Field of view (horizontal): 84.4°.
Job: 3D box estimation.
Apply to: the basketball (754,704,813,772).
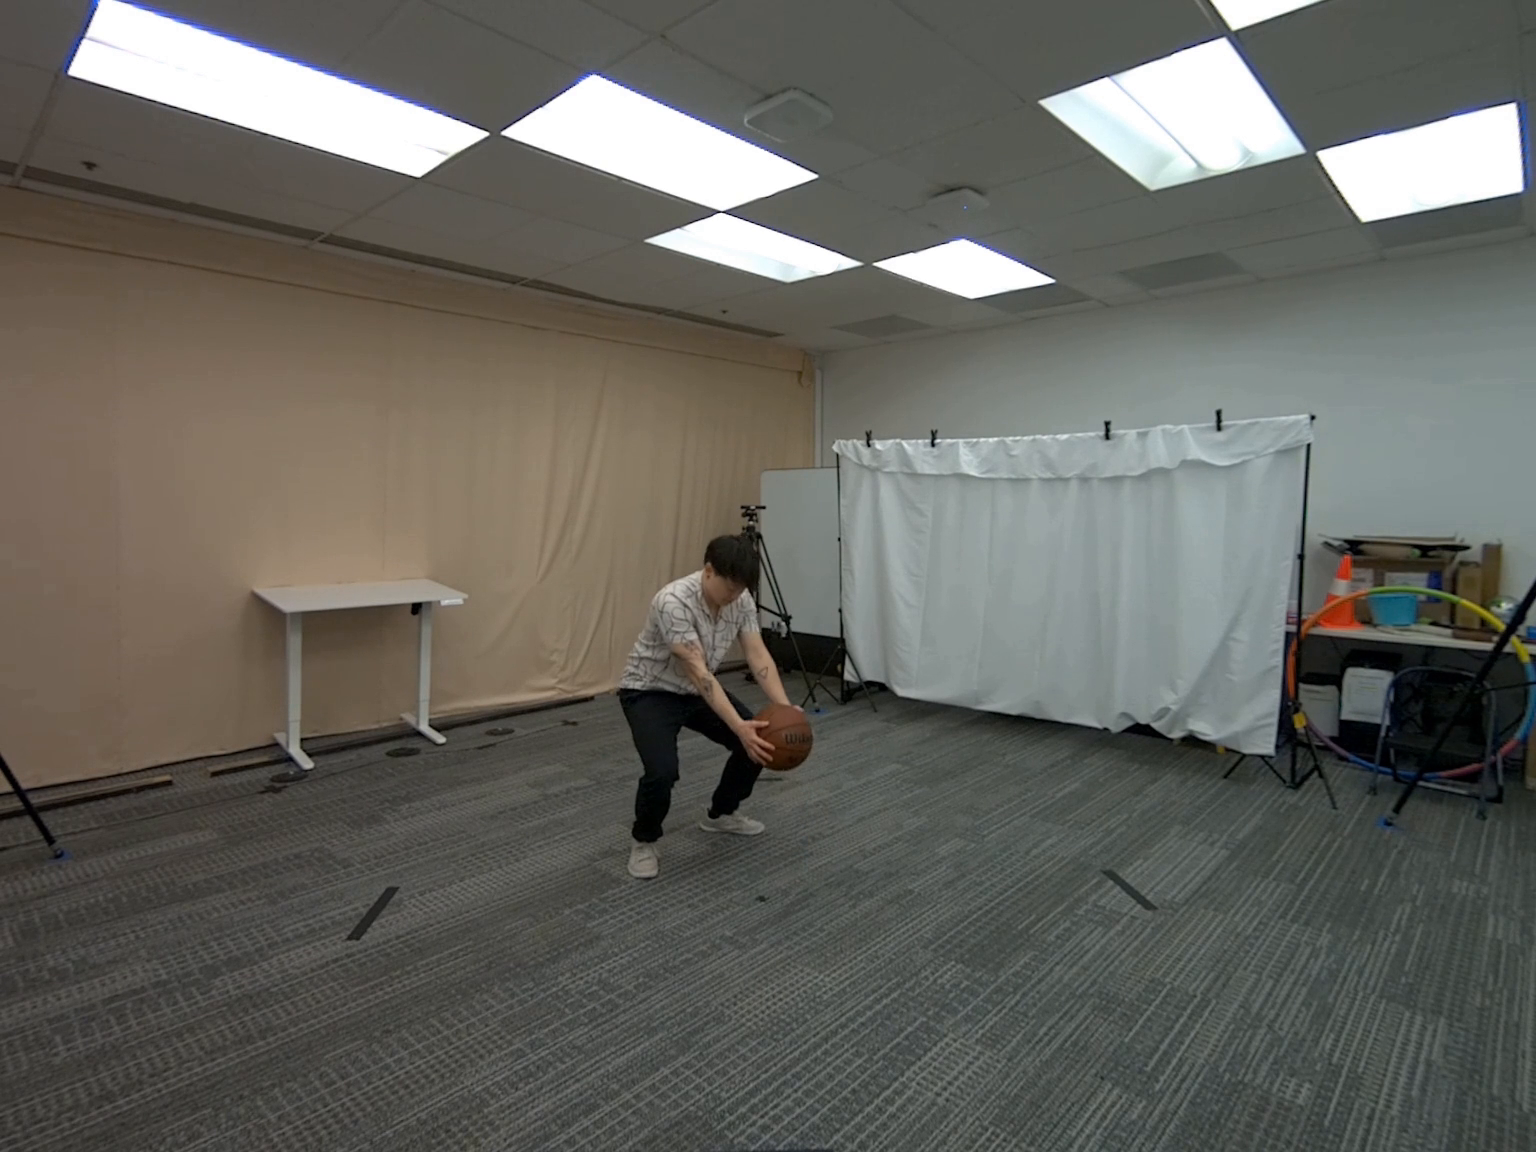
[{"bbox_3d":[0.048,0.584,3.041,0.236,0.235,0.237,0,4,-2],"label":"basketball"}]
